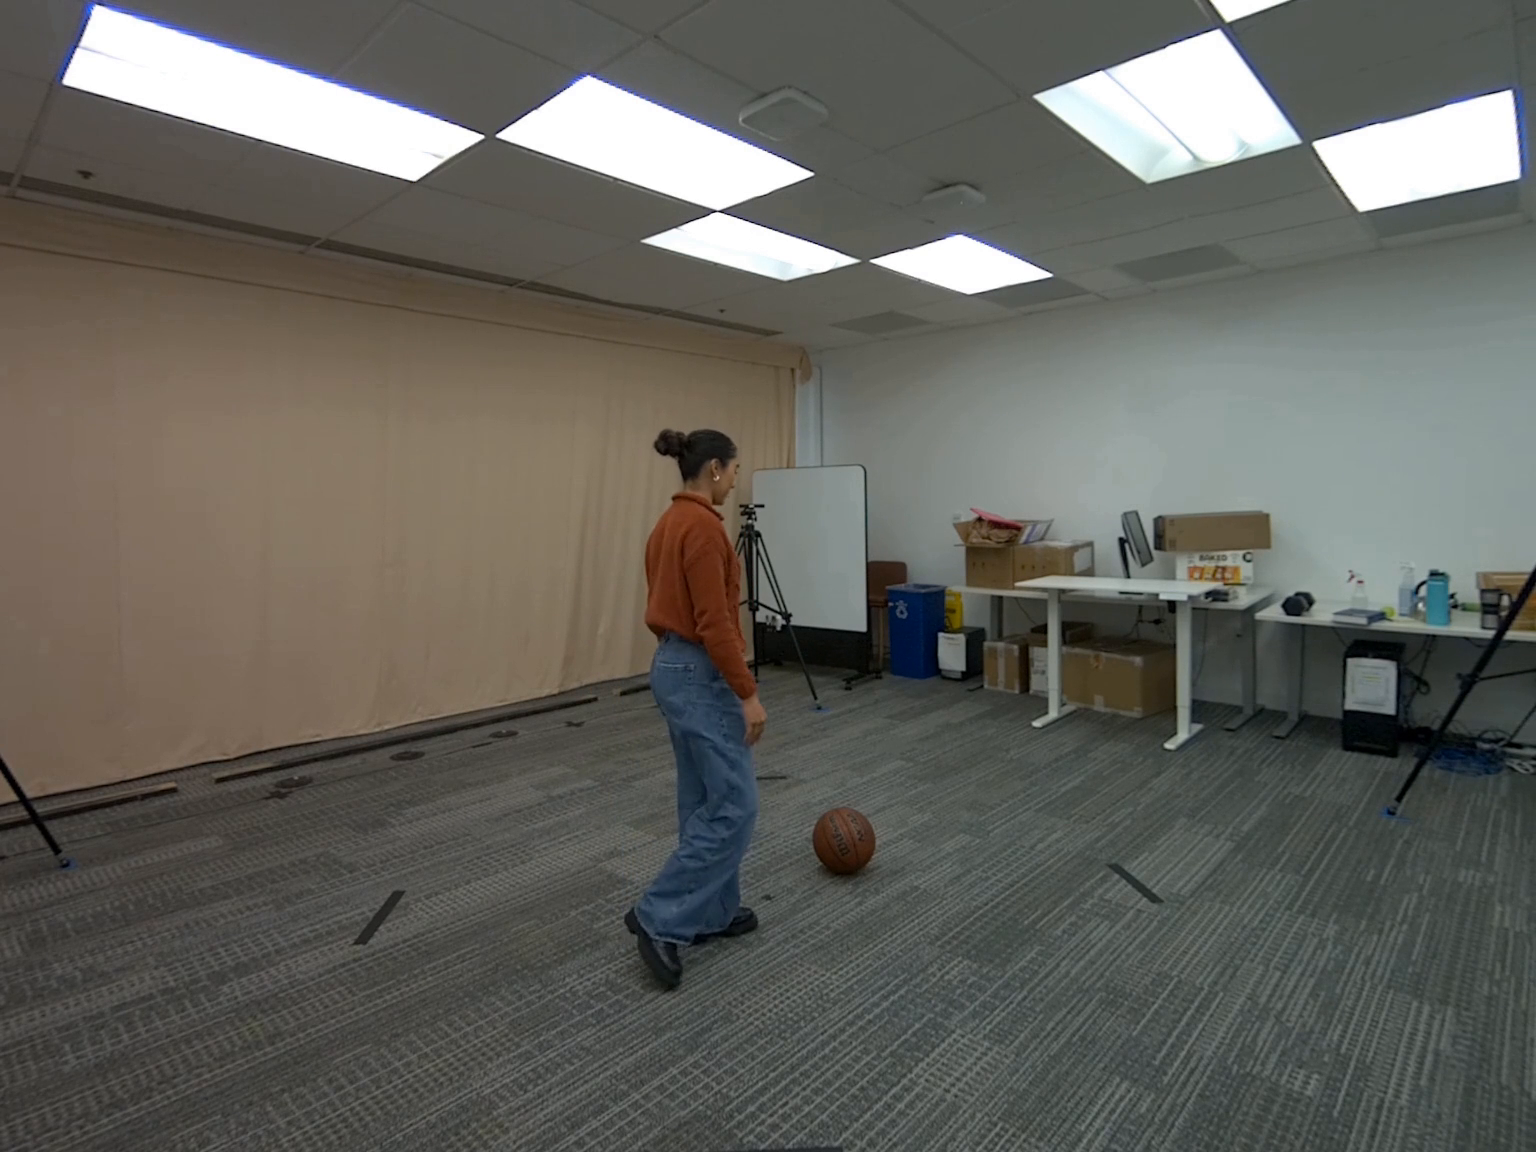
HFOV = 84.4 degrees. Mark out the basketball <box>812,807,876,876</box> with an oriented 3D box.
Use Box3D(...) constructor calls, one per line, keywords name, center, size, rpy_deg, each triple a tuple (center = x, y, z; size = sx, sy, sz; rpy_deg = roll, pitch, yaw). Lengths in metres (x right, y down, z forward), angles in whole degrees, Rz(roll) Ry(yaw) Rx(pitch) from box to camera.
Box3D(name="basketball", center=(0.292, 0.991, 3.177), size=(0.236, 0.235, 0.237), rpy_deg=(-1, 4, -2))
